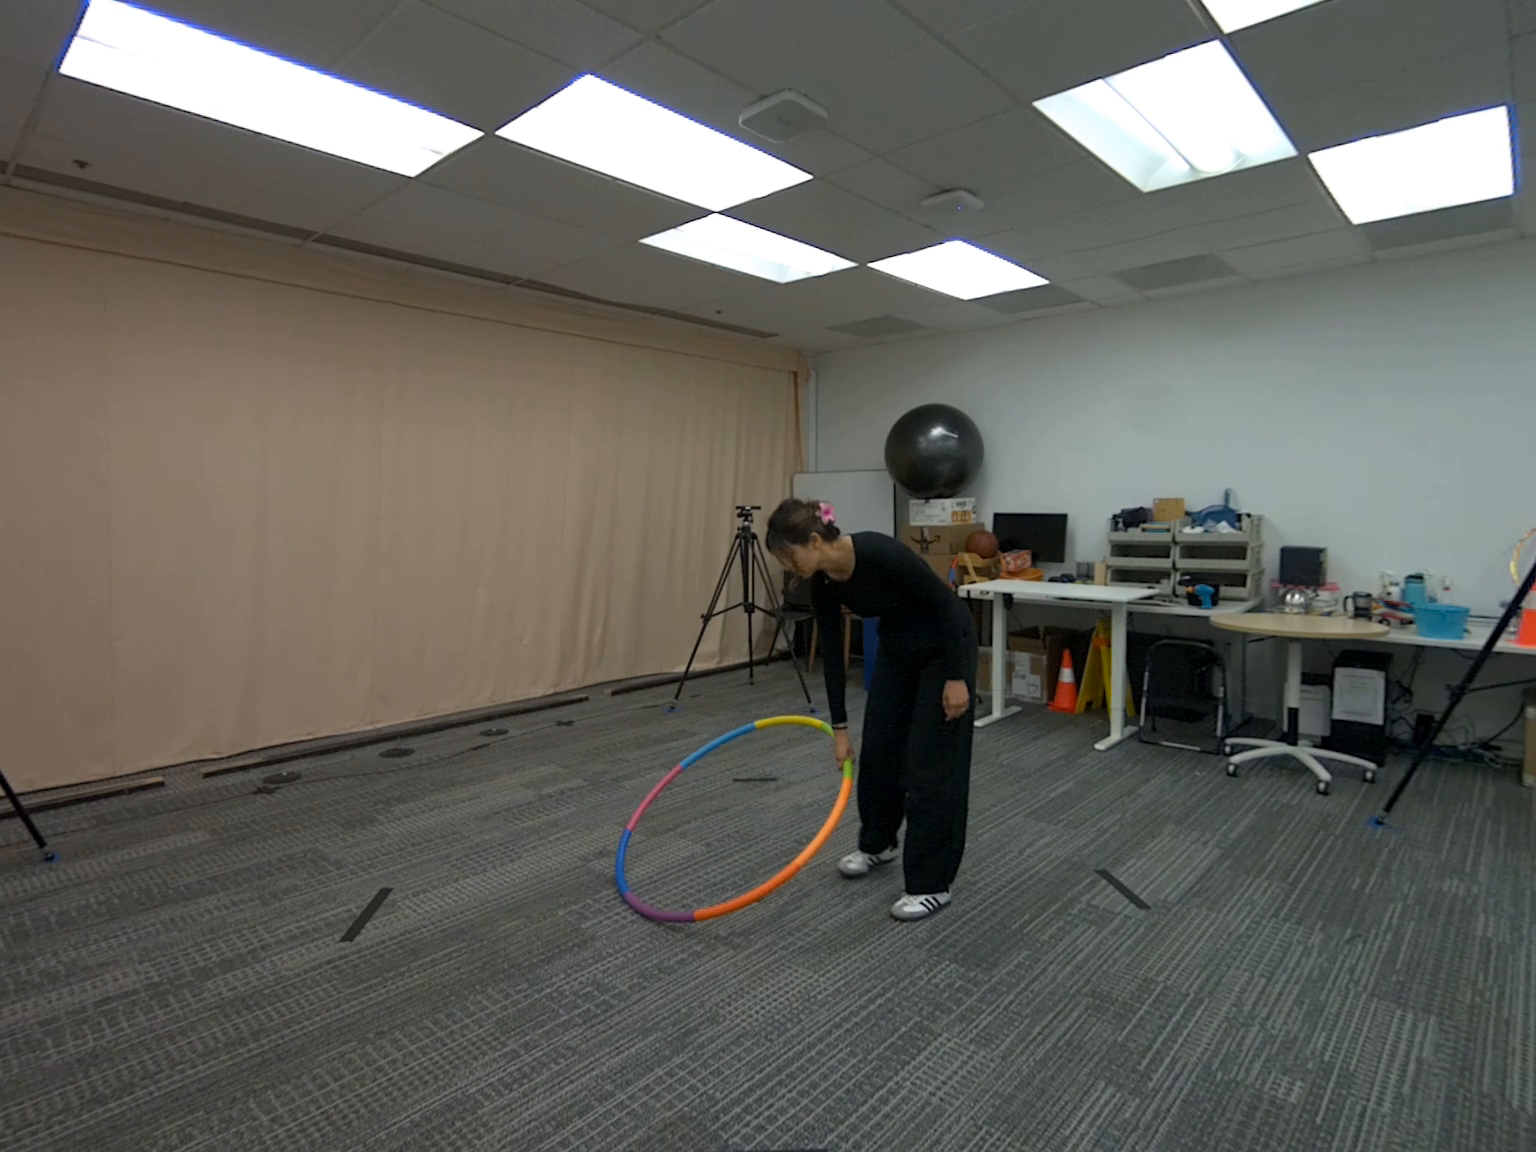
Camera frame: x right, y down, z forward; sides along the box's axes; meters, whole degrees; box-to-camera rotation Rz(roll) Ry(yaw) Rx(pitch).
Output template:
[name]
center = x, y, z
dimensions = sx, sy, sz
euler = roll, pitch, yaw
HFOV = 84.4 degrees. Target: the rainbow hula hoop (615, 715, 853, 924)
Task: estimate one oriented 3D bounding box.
[rainbow hula hoop]
center = -0.138, 0.857, 3.121
dimensions = 0.984, 0.035, 0.992
euler = -27, 21, 8
